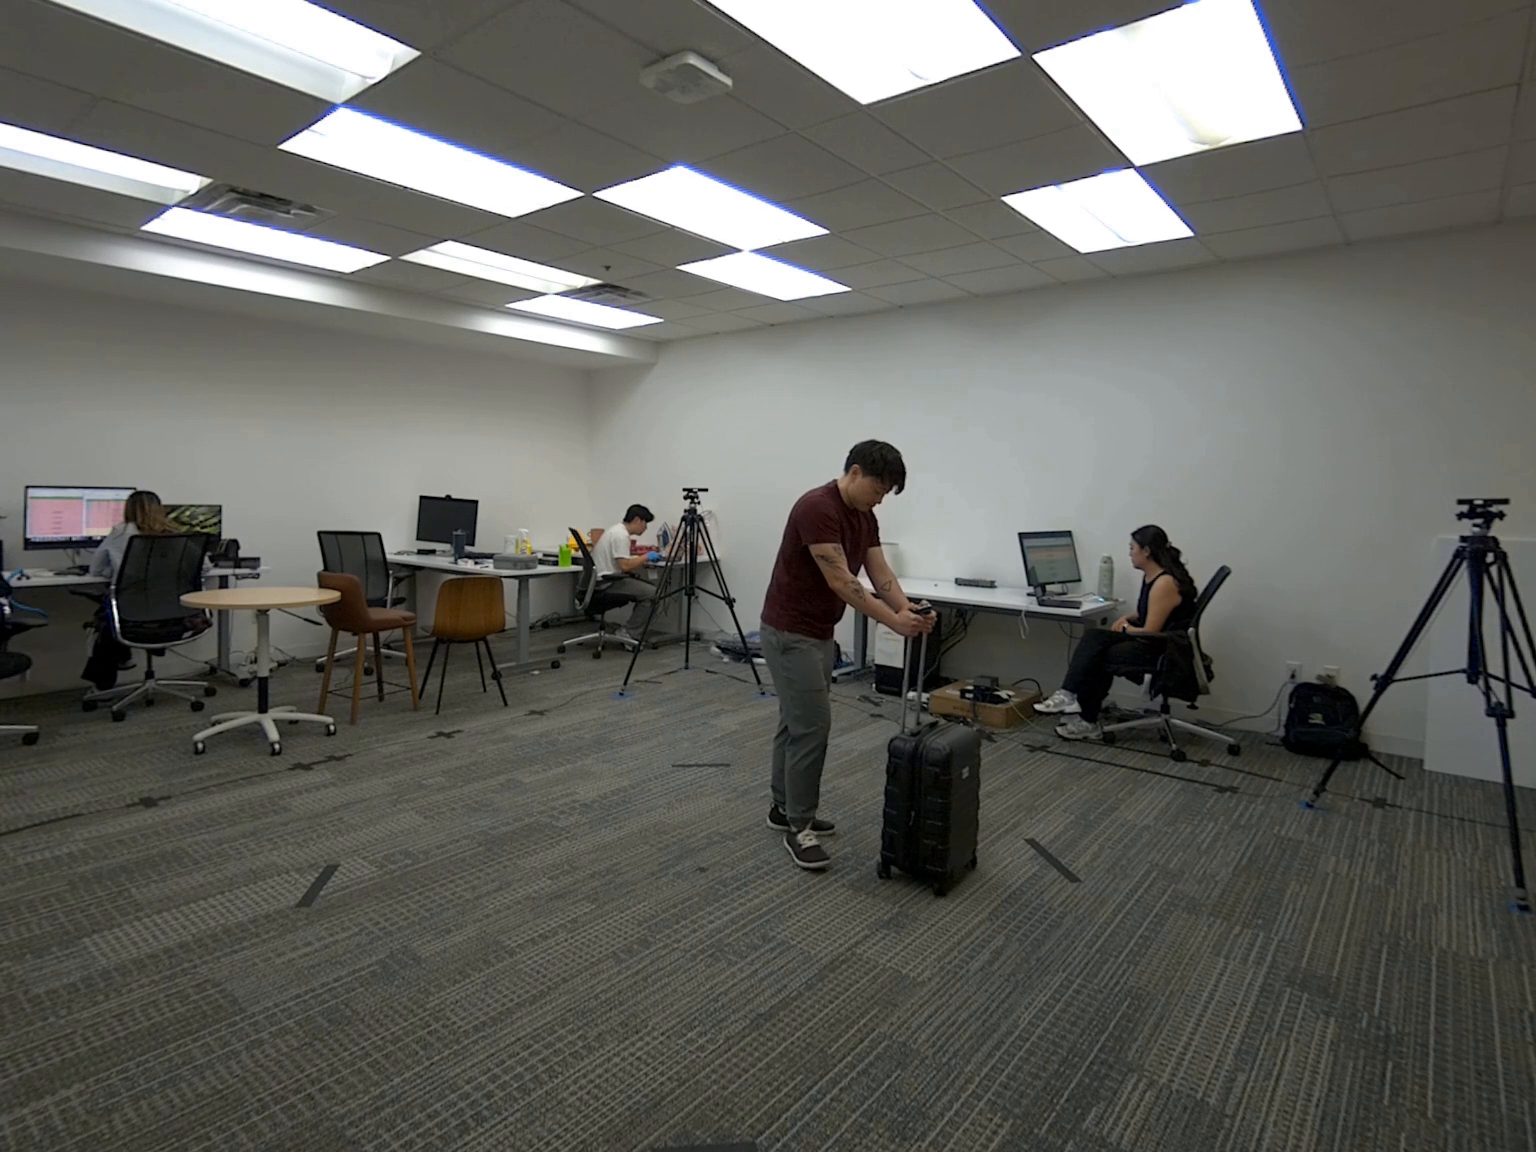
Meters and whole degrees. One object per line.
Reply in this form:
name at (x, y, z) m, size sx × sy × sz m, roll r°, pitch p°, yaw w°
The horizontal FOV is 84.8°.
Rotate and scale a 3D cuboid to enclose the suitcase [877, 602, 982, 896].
suitcase at (0.611, 0.617, 3.083) m, size 0.265 × 0.975 × 0.374 m, roll 6°, pitch 5°, yaw 31°
